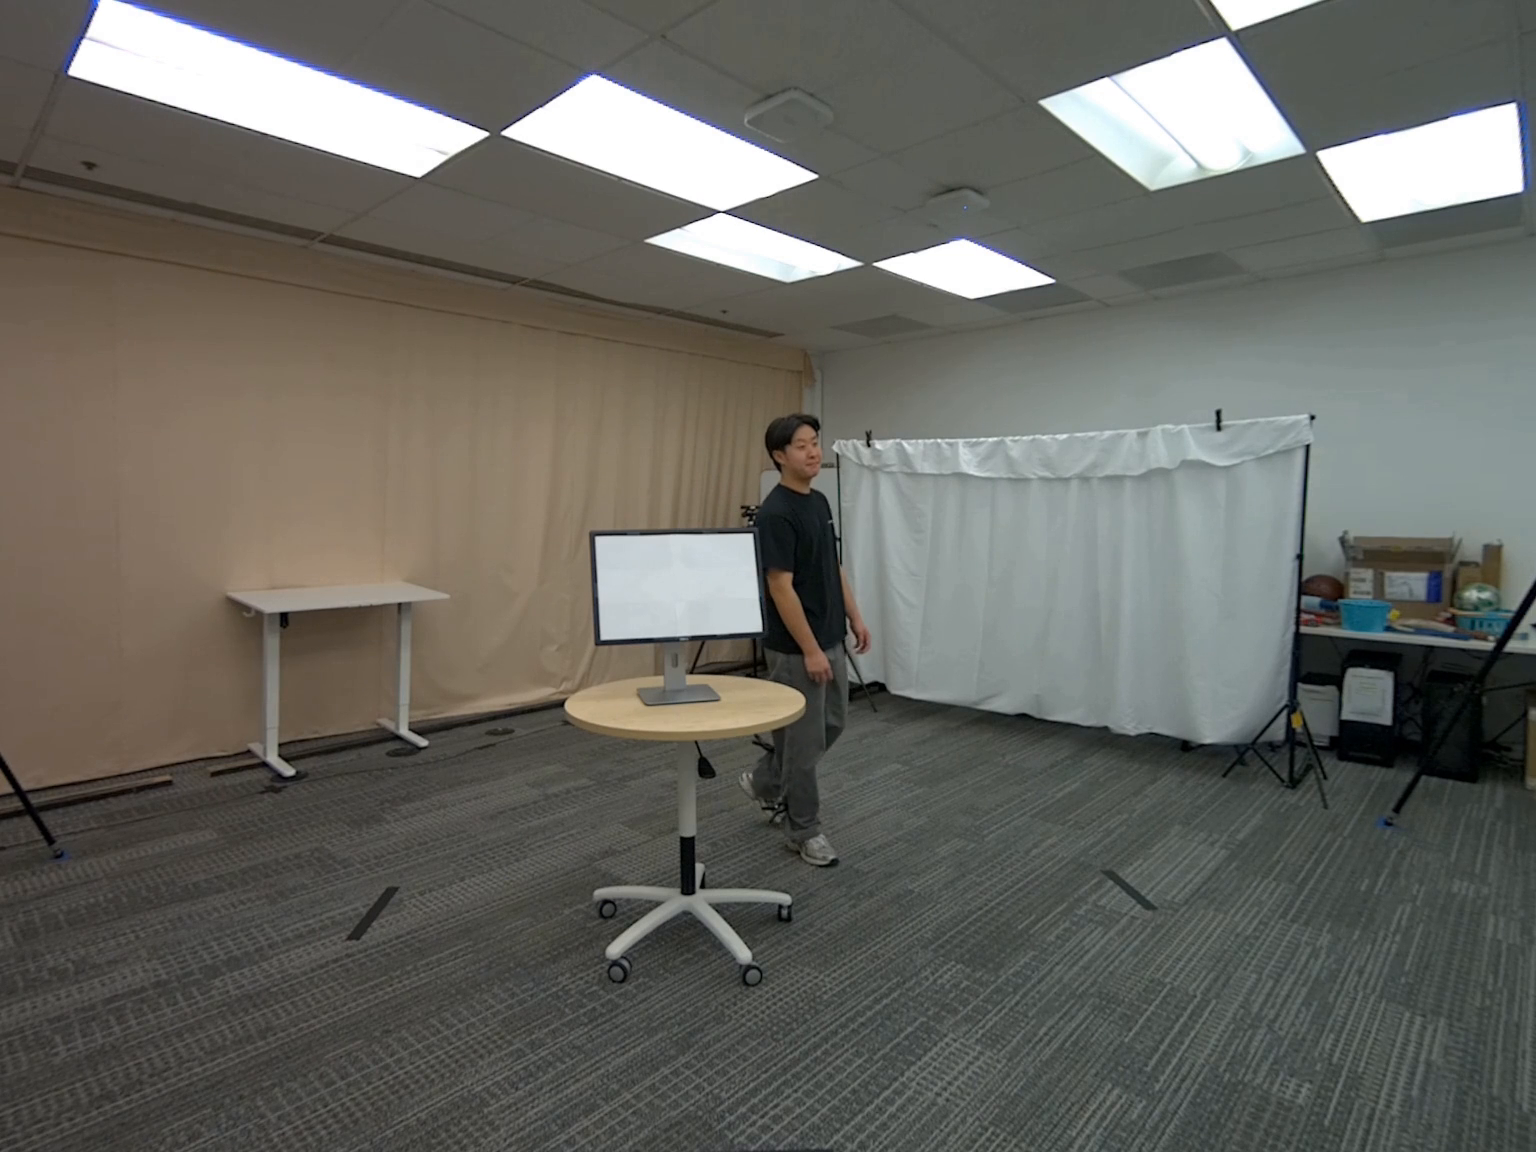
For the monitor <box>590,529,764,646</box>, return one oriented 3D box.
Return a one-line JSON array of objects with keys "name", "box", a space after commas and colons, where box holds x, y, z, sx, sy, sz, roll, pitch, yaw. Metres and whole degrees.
[{"name": "monitor", "box": [-0.291, 0.131, 2.710, 0.554, 0.564, 0.226, -2, 4, -13]}]
